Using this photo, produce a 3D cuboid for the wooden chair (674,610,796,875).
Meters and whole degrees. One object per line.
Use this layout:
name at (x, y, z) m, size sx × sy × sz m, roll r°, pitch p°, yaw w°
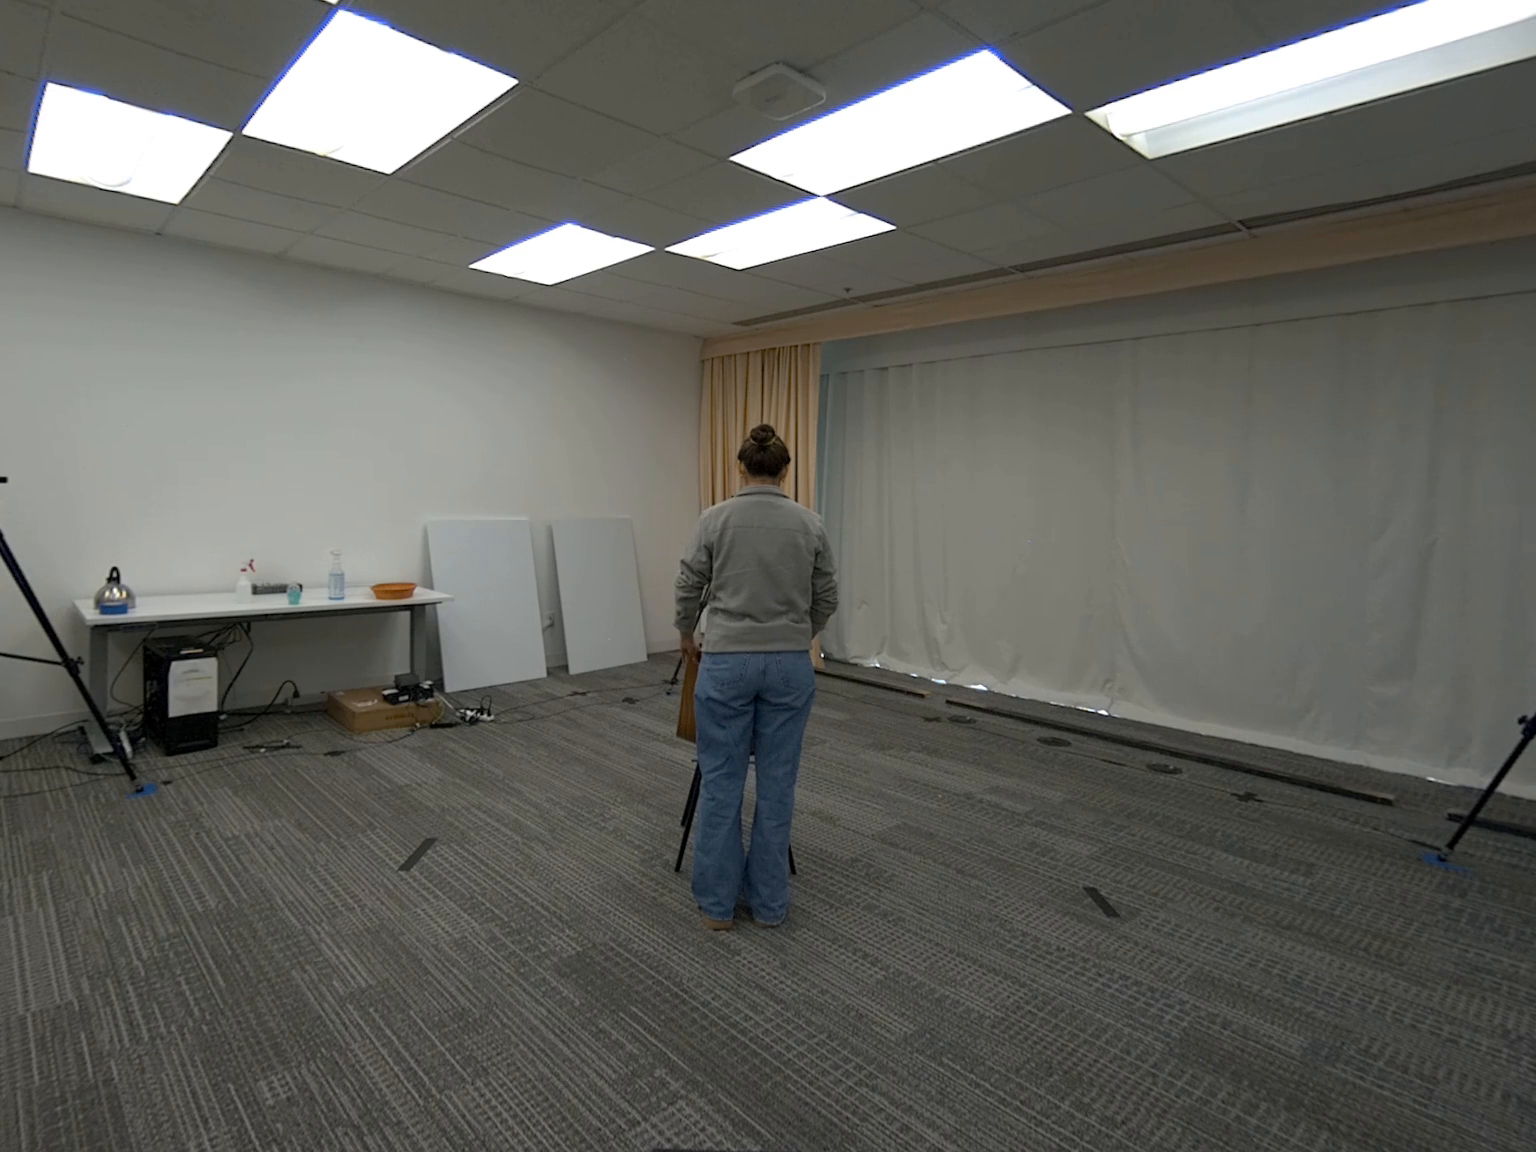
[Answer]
wooden chair at (-0.128, 0.656, 3.316) m, size 0.478 × 0.872 × 0.526 m, roll 0°, pitch 8°, yaw -1°
